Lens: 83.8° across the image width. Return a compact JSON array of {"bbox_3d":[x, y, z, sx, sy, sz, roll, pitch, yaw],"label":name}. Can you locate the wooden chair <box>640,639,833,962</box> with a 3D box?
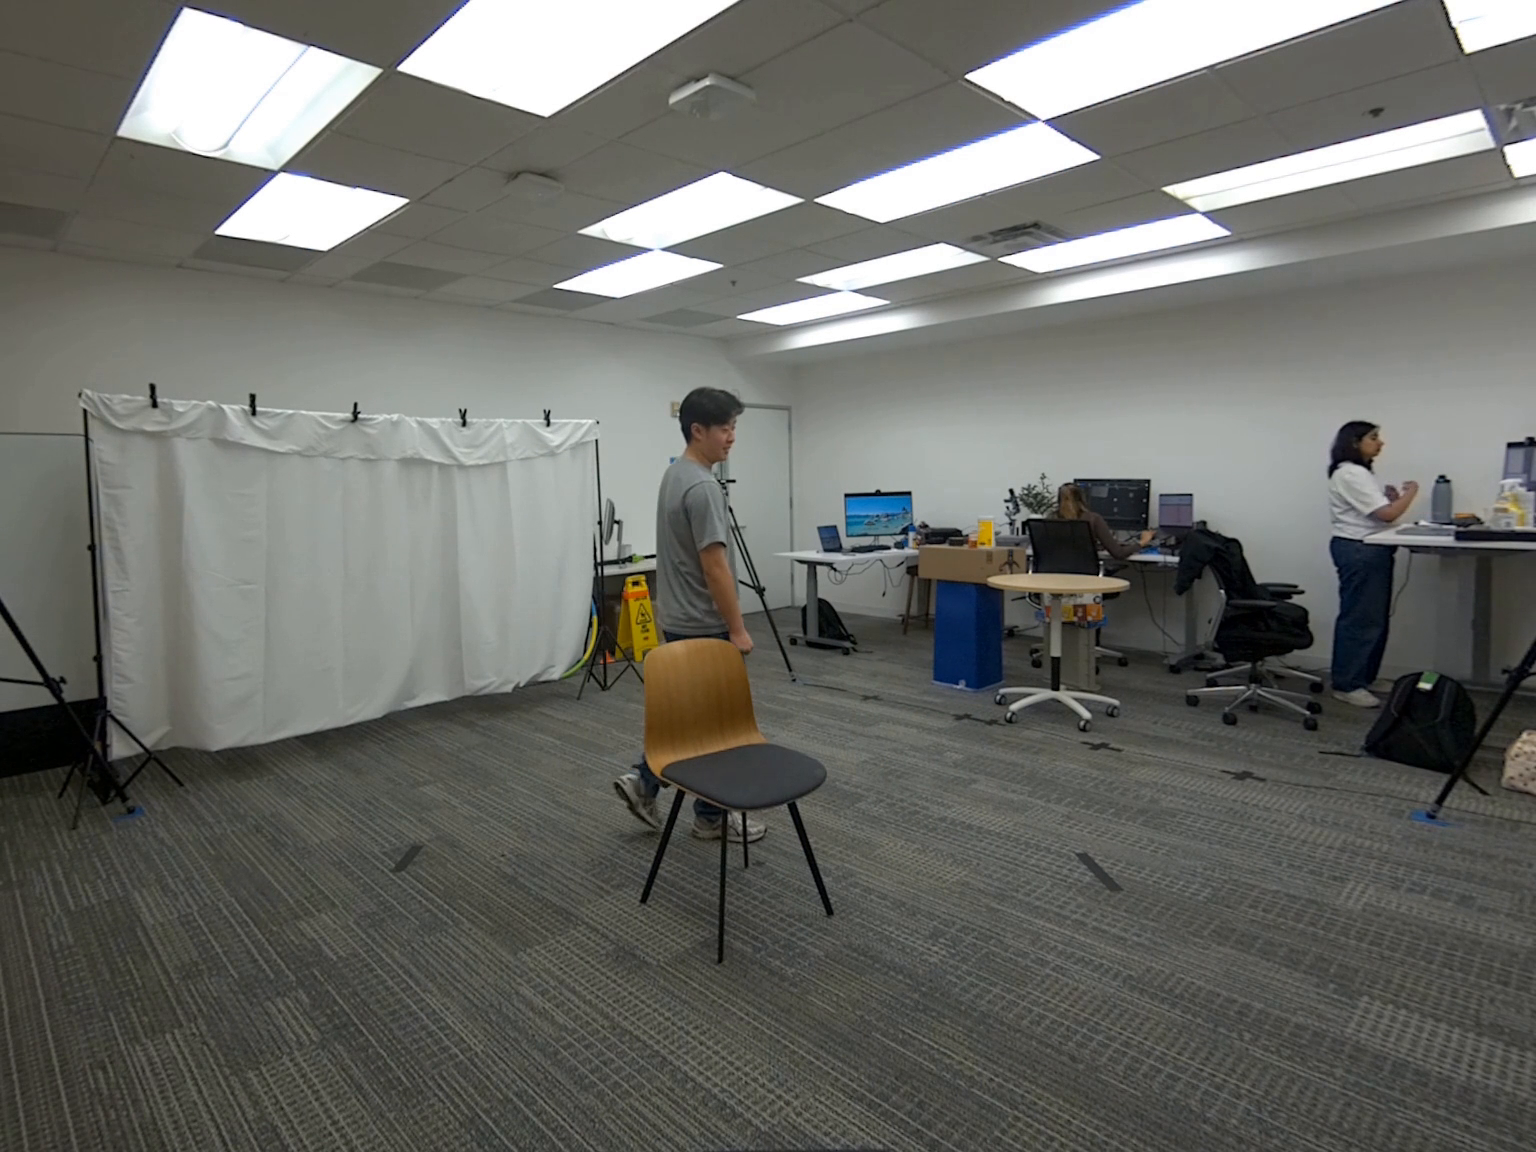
[{"bbox_3d":[-0.107,0.665,2.741,0.466,0.877,0.537,-4,1,-38],"label":"wooden chair"}]
